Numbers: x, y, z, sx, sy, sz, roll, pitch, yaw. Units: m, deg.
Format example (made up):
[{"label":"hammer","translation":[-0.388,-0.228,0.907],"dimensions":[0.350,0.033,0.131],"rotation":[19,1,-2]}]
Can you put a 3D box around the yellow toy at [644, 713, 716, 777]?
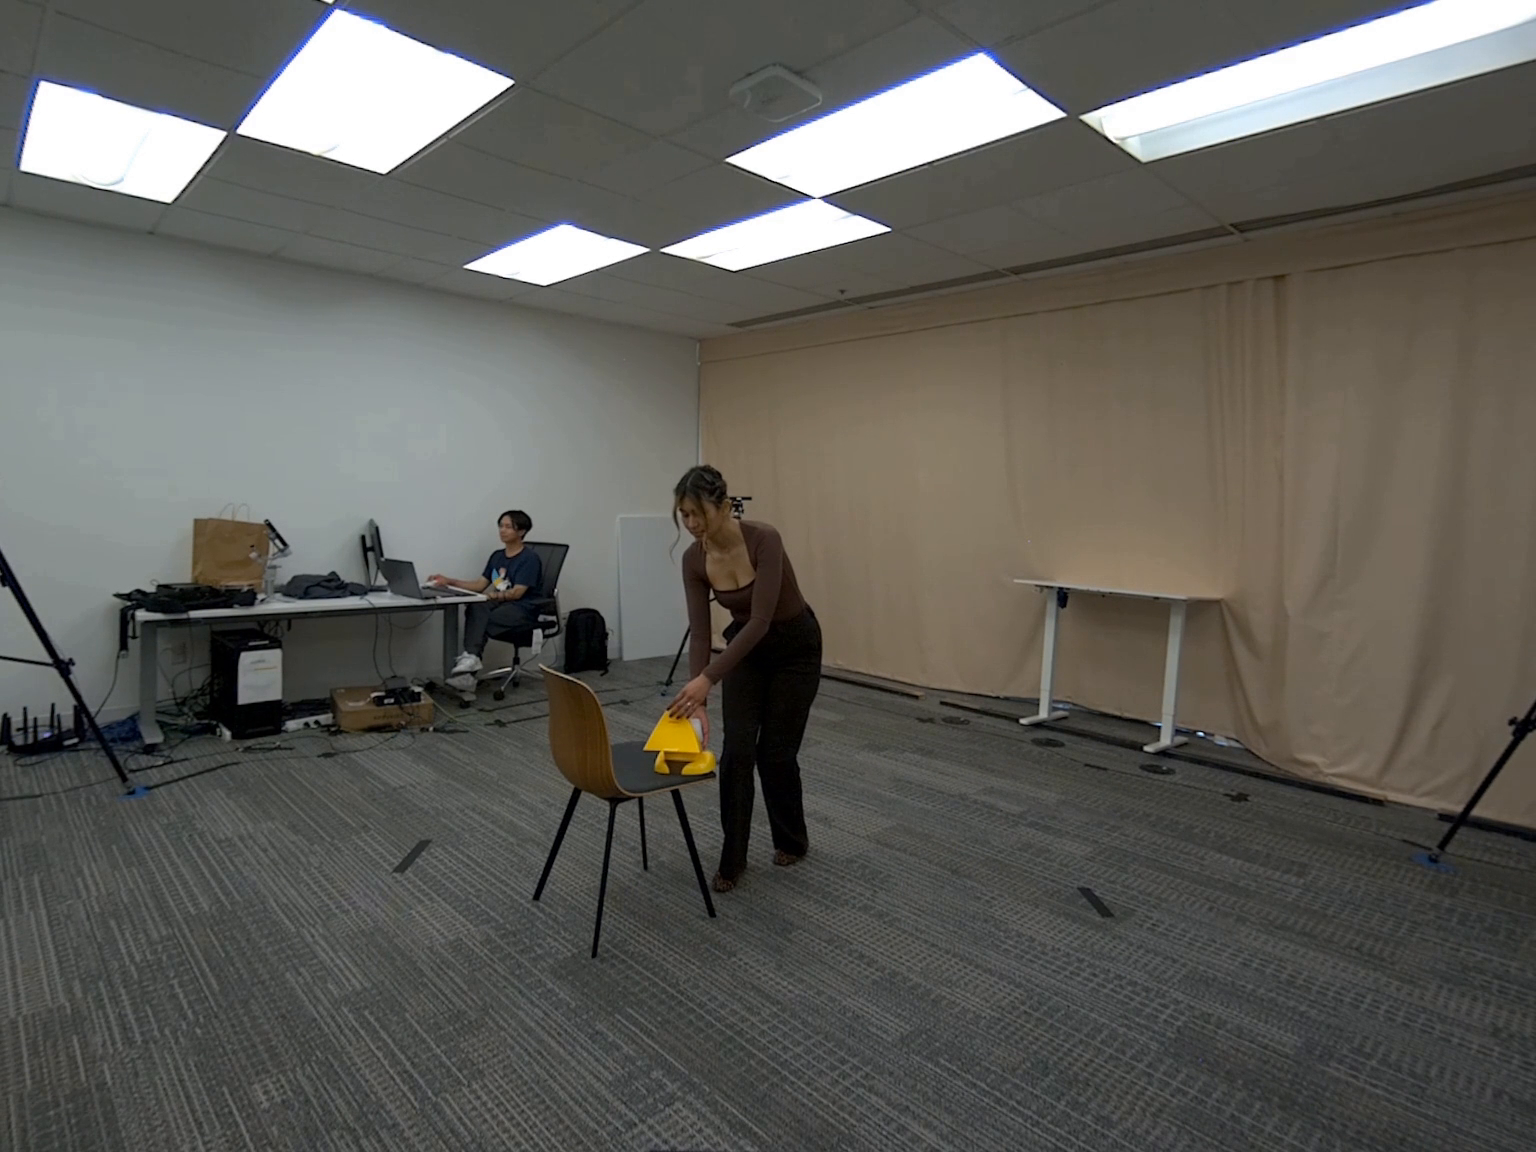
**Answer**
[{"label":"yellow toy","translation":[-0.289,0.532,2.794],"dimensions":[0.208,0.231,0.190],"rotation":[-3,1,22]}]
